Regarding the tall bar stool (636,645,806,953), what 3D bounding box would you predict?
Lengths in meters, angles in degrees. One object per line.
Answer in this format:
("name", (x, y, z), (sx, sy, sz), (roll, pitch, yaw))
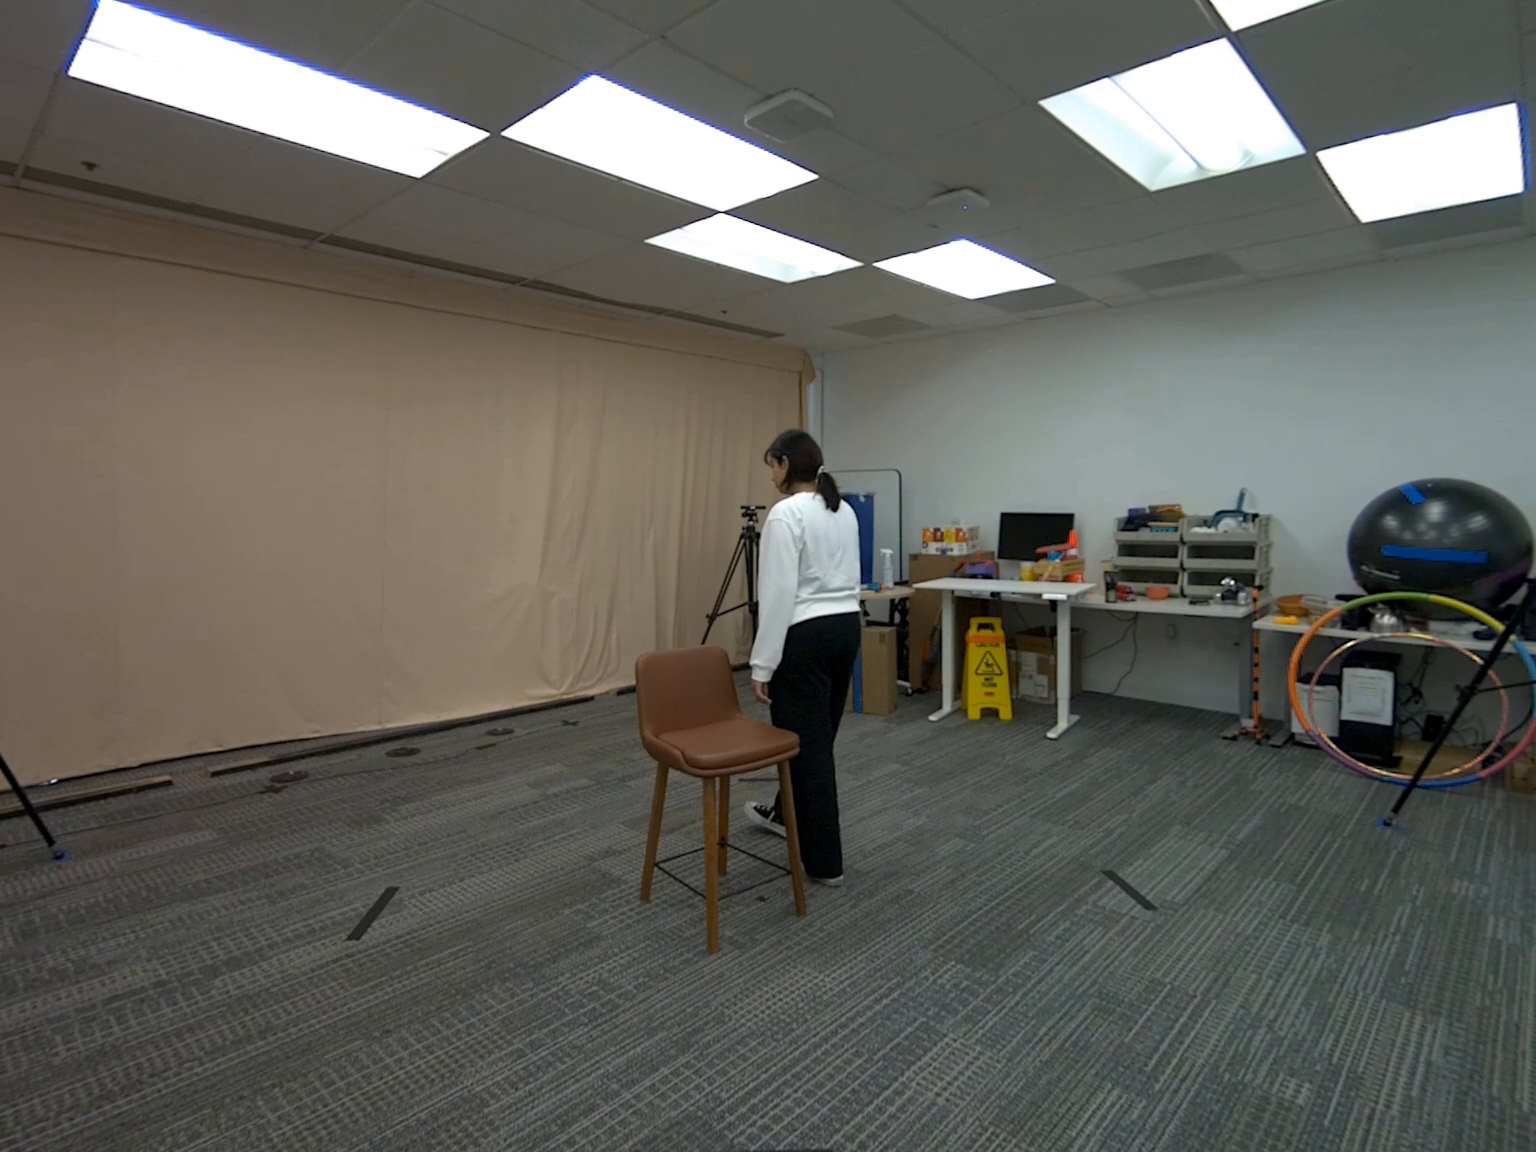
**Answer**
("tall bar stool", (-0.171, 0.716, 2.892), (0.443, 0.888, 0.482), (-3, 3, -38))
